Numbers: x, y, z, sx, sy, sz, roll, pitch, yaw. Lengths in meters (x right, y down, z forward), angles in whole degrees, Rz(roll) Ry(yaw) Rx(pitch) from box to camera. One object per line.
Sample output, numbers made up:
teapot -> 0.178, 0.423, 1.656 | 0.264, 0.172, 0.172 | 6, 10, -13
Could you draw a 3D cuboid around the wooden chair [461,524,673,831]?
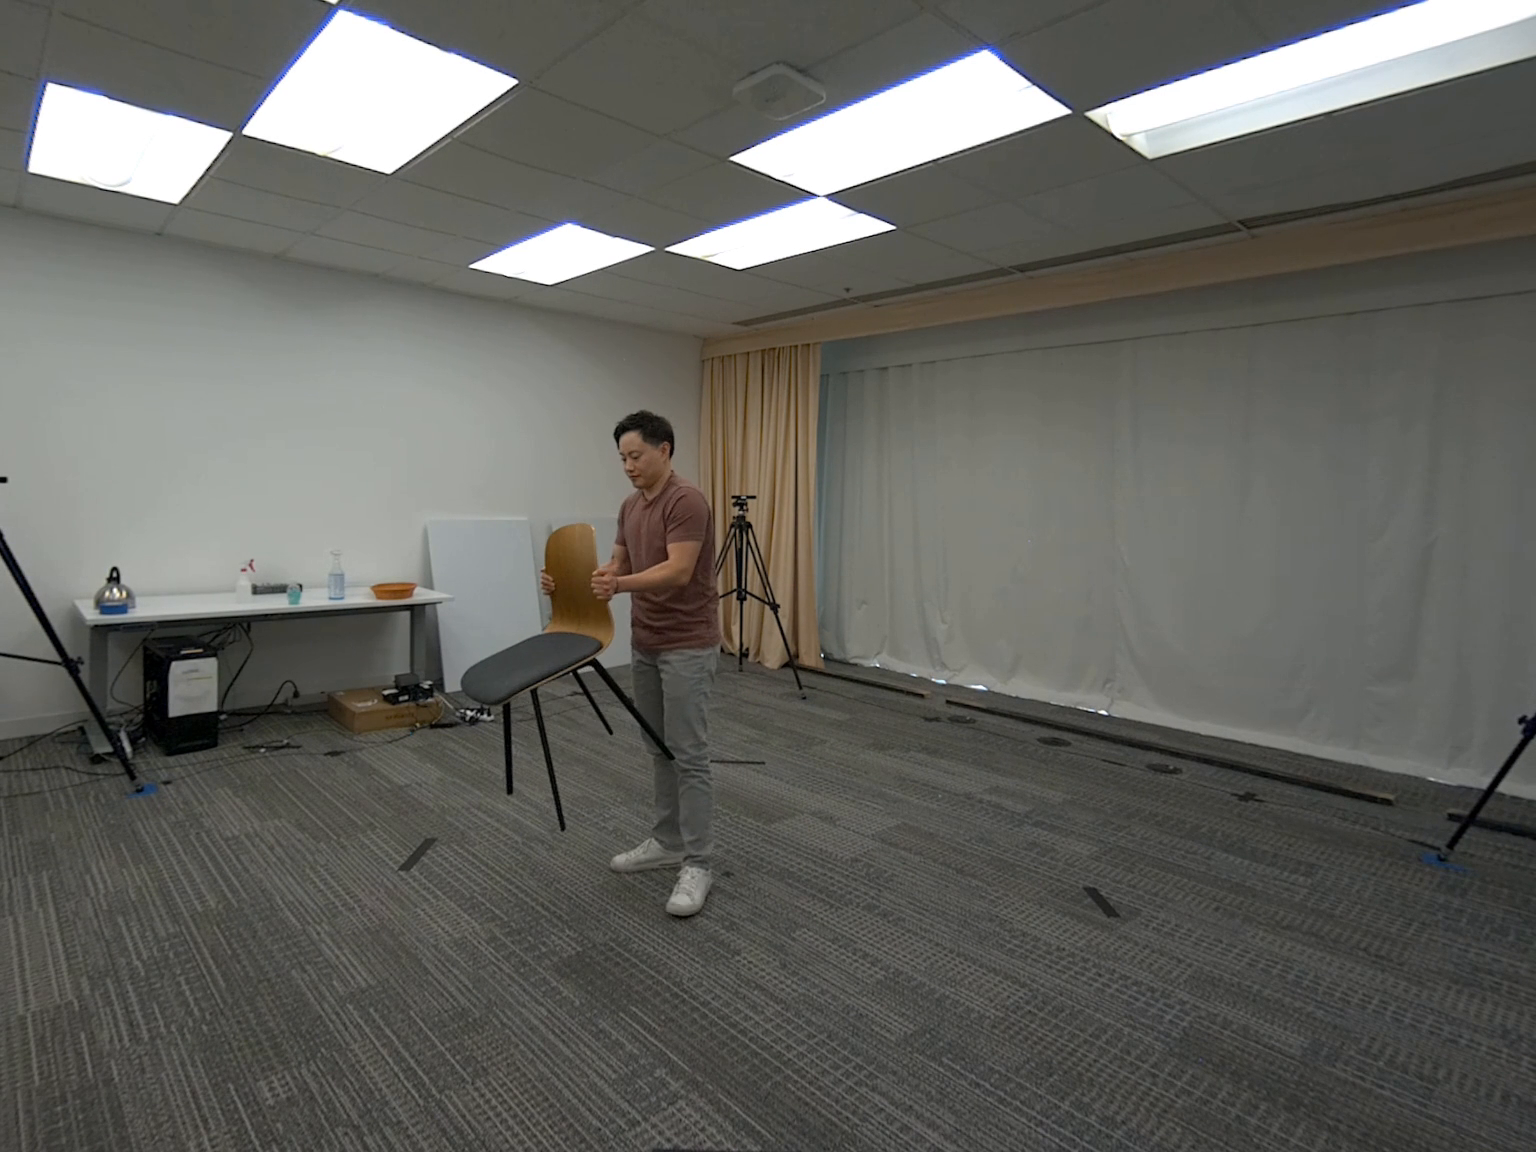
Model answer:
wooden chair -> -0.744, 0.320, 2.828 | 0.516, 0.868, 0.490 | -21, 15, -35
